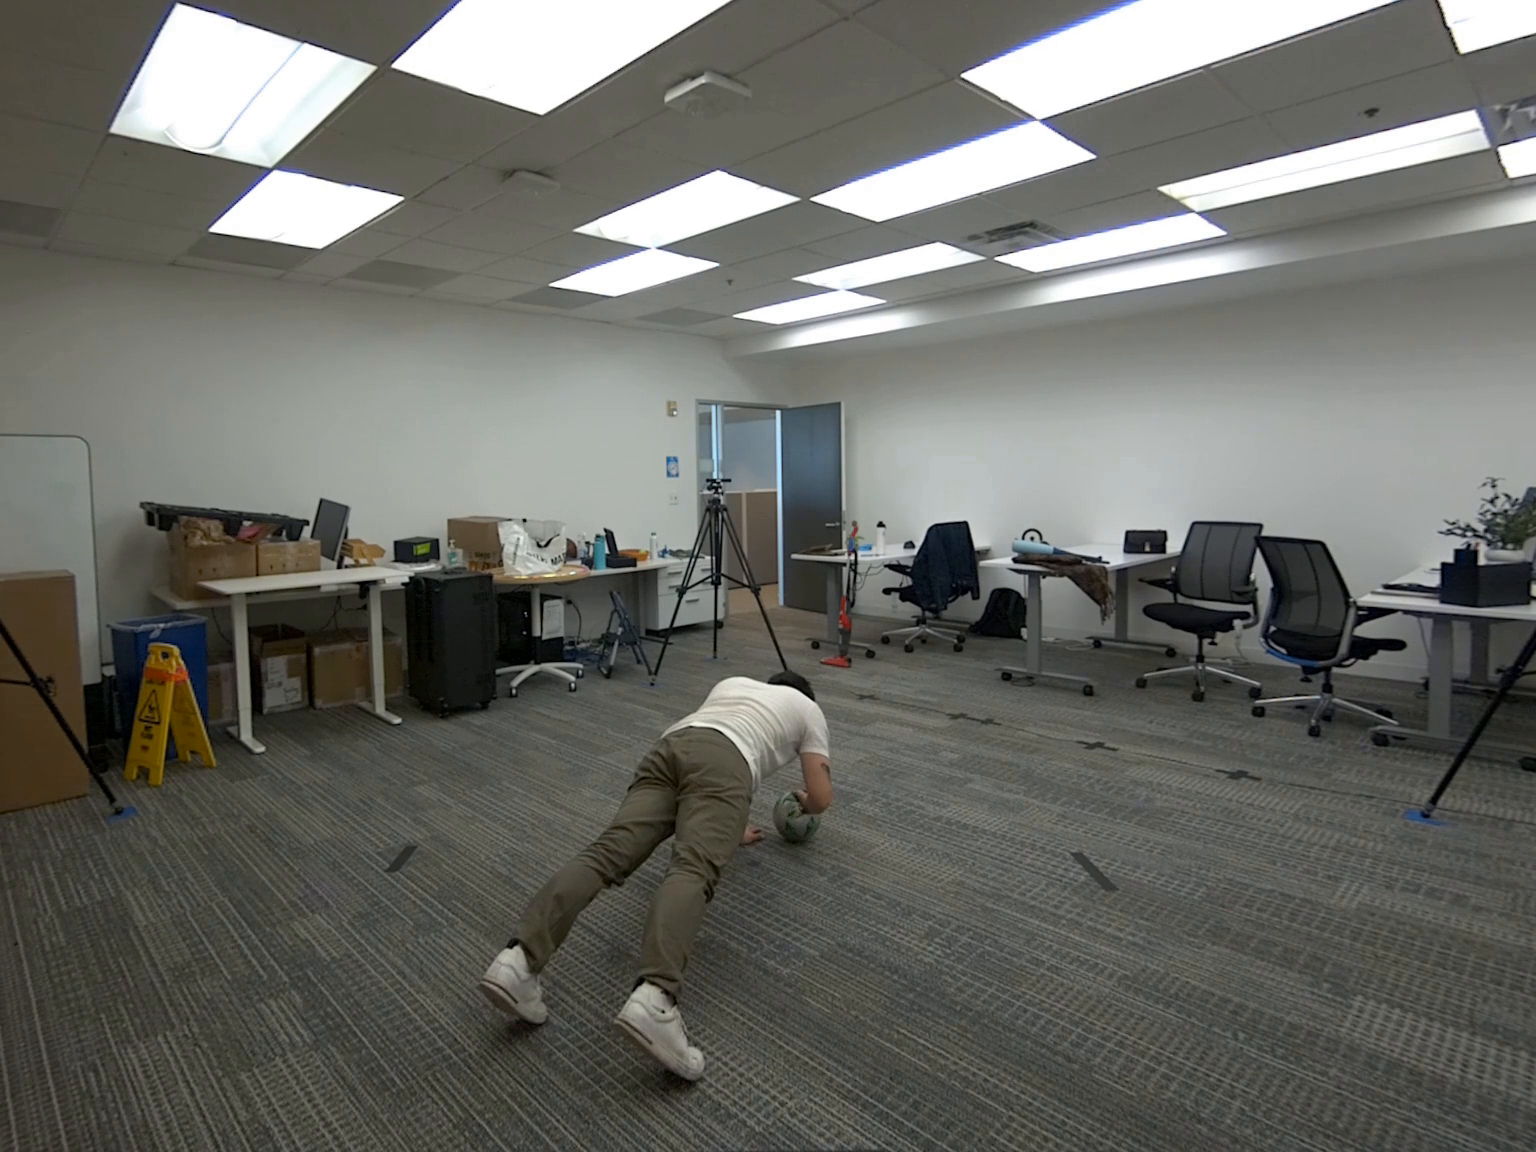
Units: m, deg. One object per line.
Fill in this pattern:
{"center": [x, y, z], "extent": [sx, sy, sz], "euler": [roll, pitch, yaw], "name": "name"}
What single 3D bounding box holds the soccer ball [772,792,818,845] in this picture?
{"center": [0.121, 0.923, 3.303], "extent": [0.187, 0.187, 0.188], "euler": [-1, 5, -2], "name": "soccer ball"}
